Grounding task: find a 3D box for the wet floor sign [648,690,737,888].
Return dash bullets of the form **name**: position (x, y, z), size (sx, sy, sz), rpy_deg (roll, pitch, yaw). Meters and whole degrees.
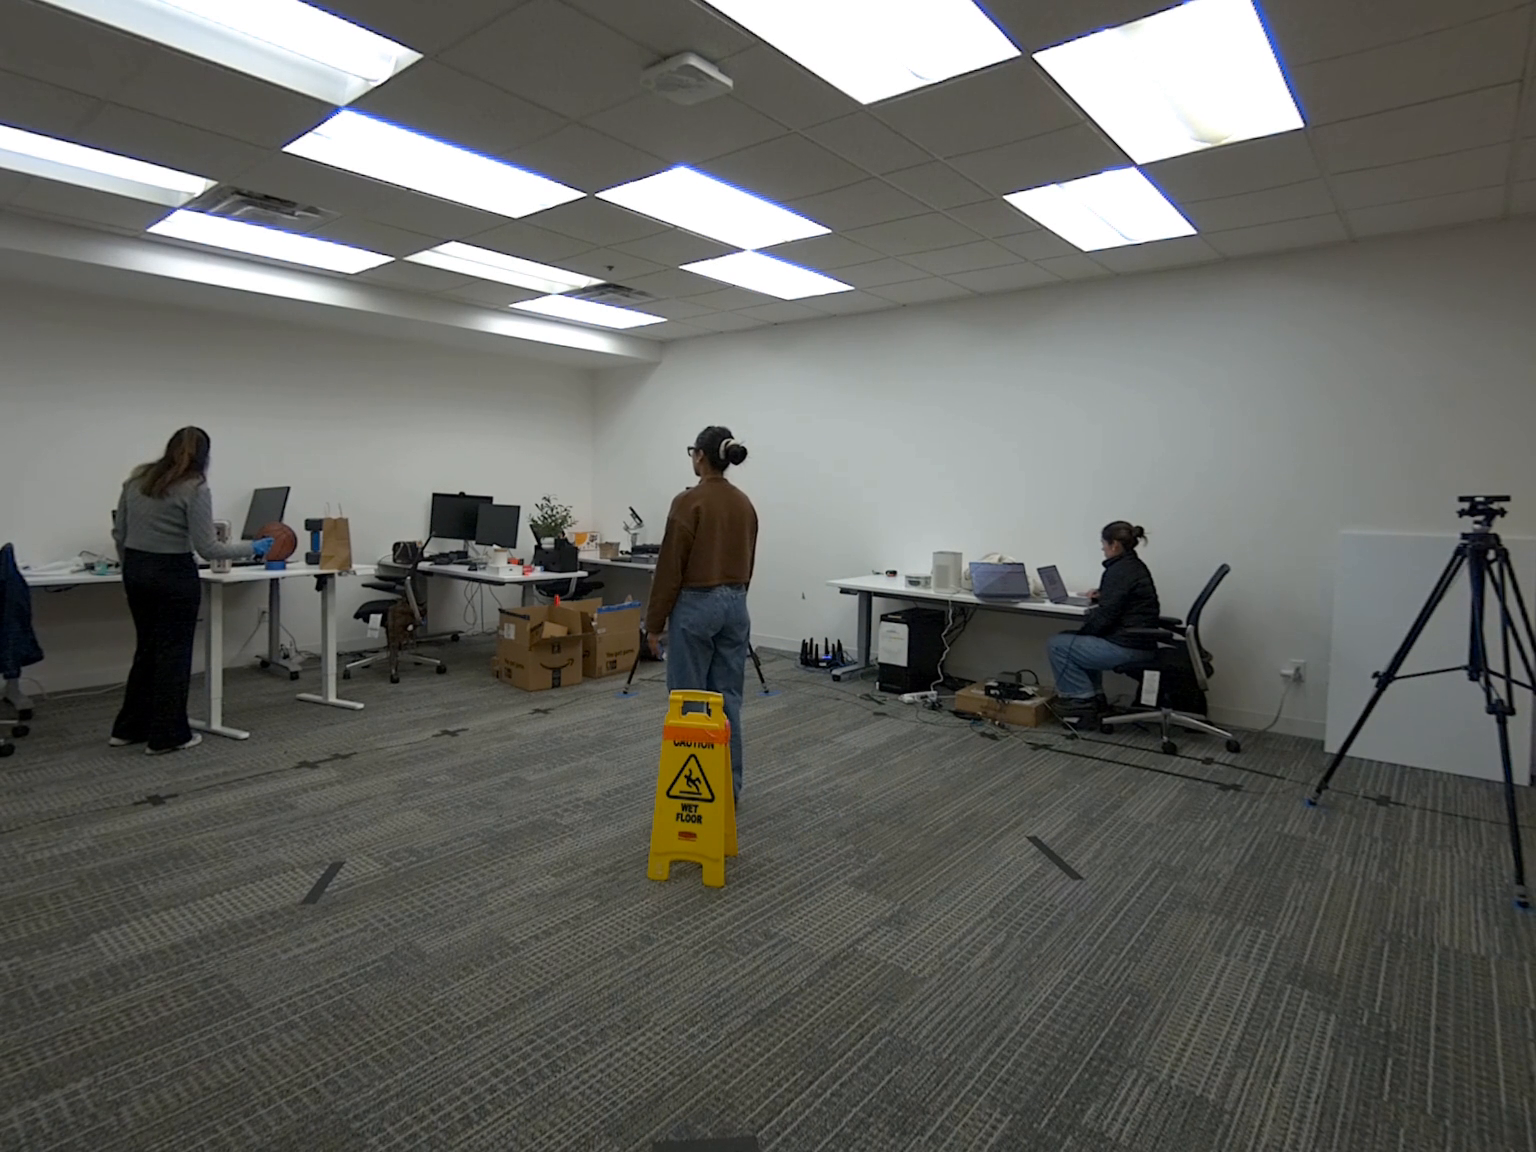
- **wet floor sign**: position (-0.280, 0.740, 3.103), size (0.286, 0.644, 0.287), rpy_deg (0, 4, 11)
